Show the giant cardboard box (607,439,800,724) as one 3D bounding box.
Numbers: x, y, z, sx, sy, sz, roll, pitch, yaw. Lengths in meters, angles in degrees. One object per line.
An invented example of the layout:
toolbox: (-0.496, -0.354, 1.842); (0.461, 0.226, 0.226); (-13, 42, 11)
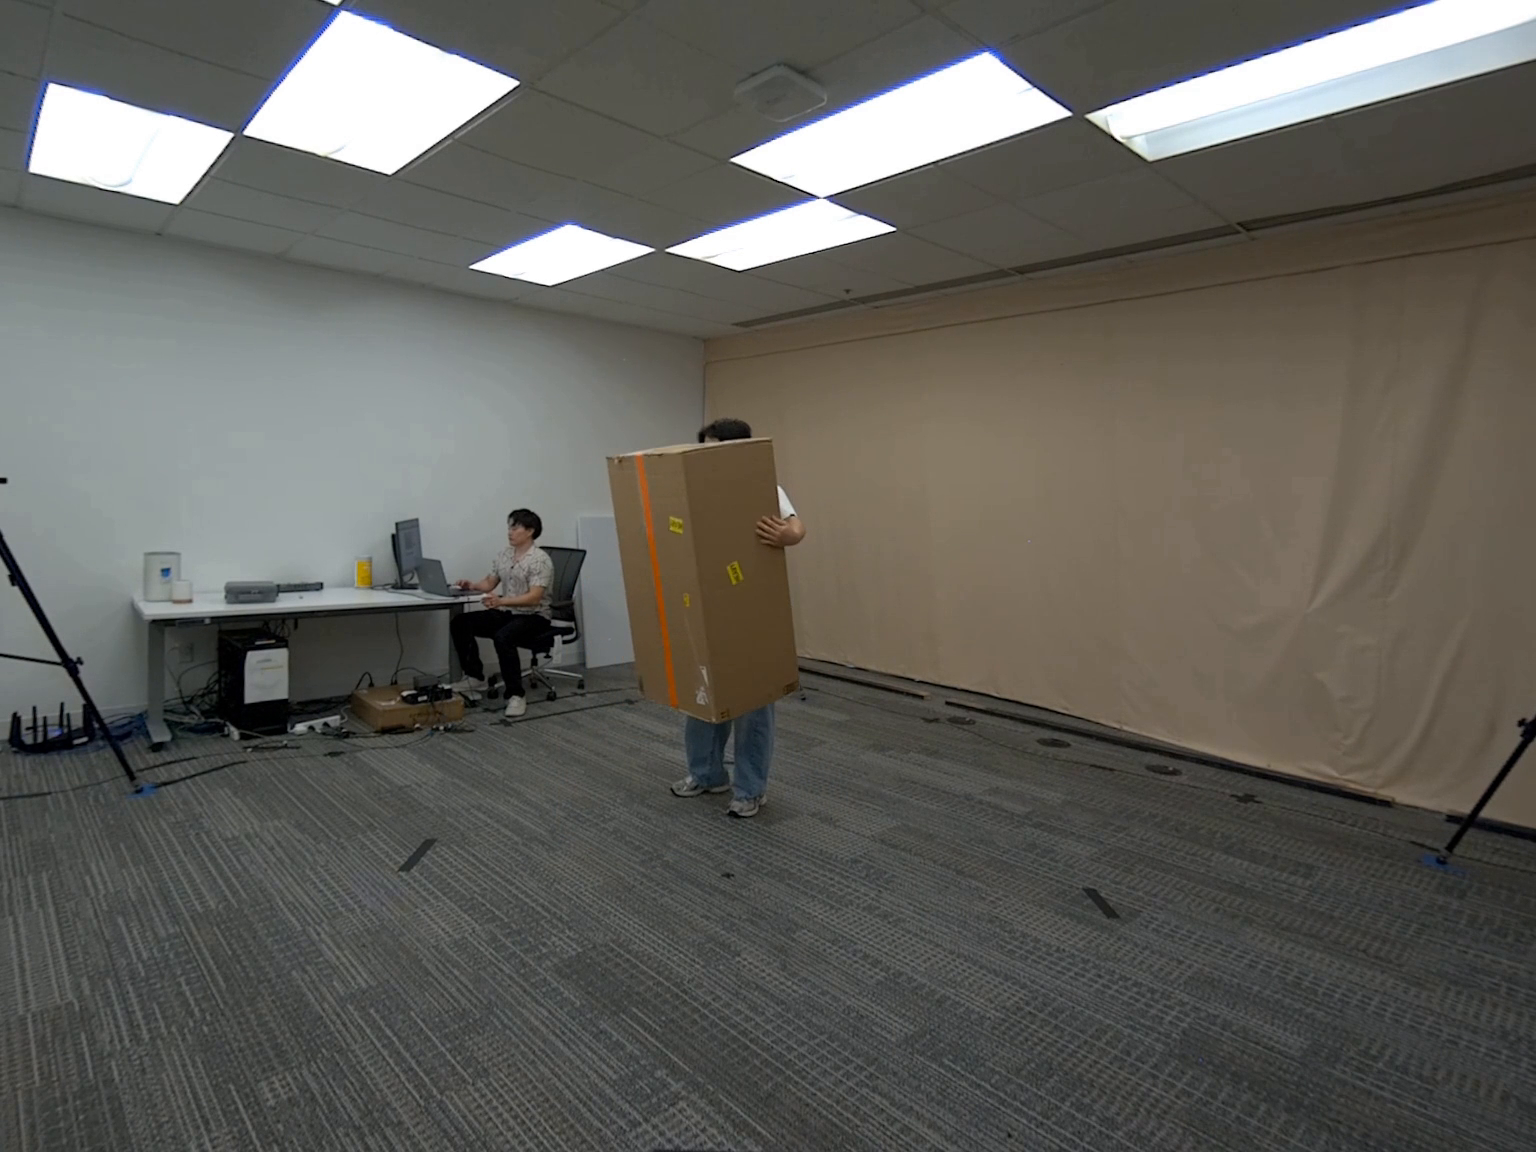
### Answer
giant cardboard box: (-0.286, -0.003, 3.397); (0.419, 1.018, 0.592); (-14, 12, -38)
